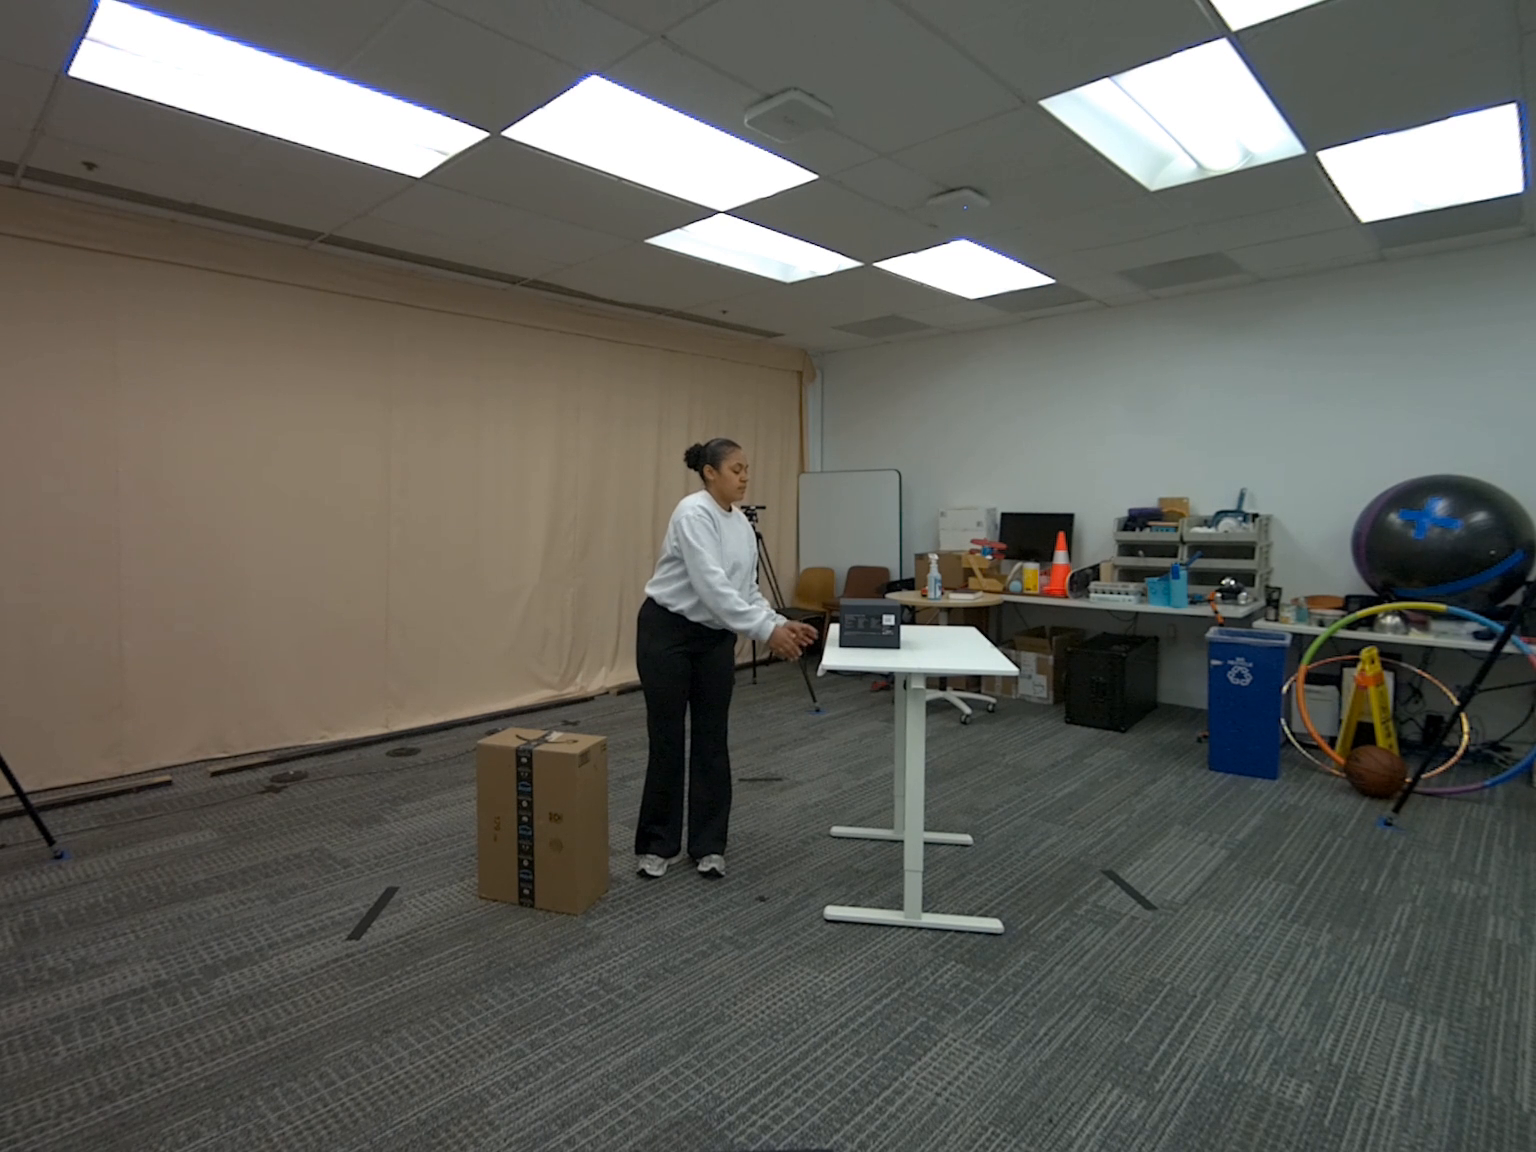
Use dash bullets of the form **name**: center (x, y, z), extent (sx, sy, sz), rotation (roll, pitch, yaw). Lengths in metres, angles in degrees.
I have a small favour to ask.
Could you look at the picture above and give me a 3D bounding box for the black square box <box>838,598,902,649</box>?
- **black square box**: center (0.379, 0.169, 3.091), extent (0.219, 0.156, 0.226), rotation (3, 2, 7)
